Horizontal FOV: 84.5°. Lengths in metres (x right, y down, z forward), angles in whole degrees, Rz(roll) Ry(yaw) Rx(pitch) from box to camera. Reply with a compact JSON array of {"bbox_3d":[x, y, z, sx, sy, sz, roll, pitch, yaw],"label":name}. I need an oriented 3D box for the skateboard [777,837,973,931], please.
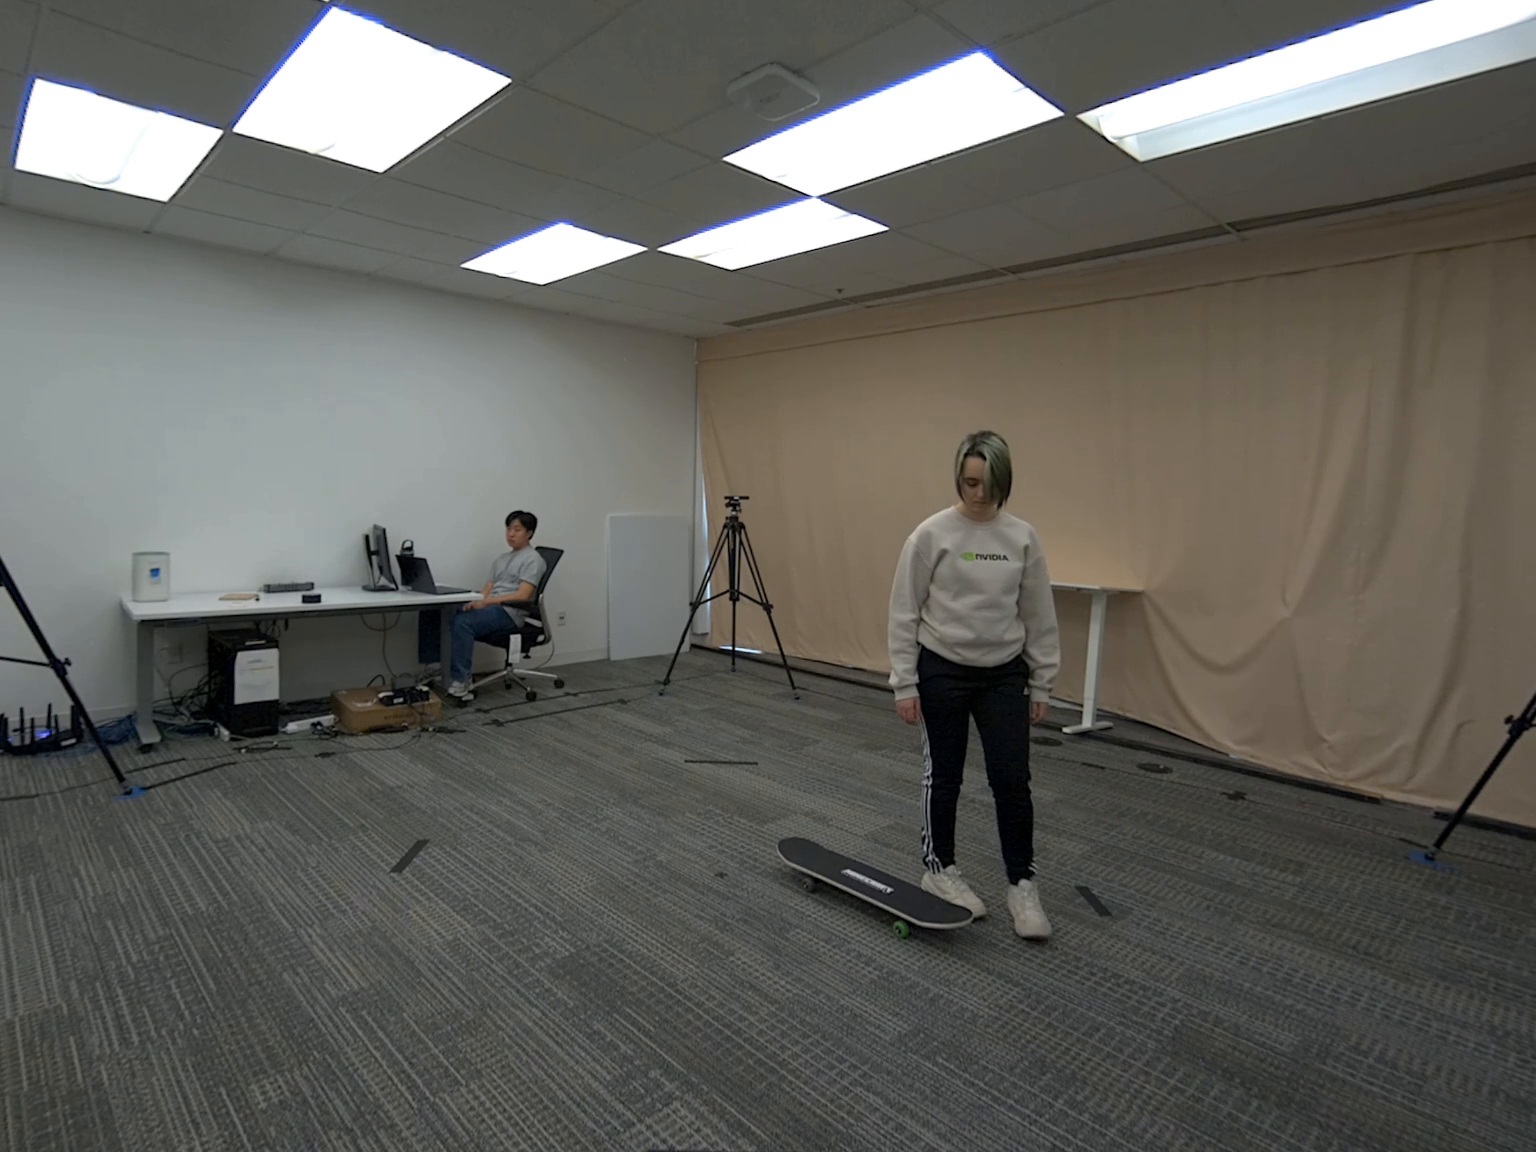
[{"bbox_3d":[0.334,1.079,2.891,0.189,0.110,0.806,-4,8,-43],"label":"skateboard"}]
